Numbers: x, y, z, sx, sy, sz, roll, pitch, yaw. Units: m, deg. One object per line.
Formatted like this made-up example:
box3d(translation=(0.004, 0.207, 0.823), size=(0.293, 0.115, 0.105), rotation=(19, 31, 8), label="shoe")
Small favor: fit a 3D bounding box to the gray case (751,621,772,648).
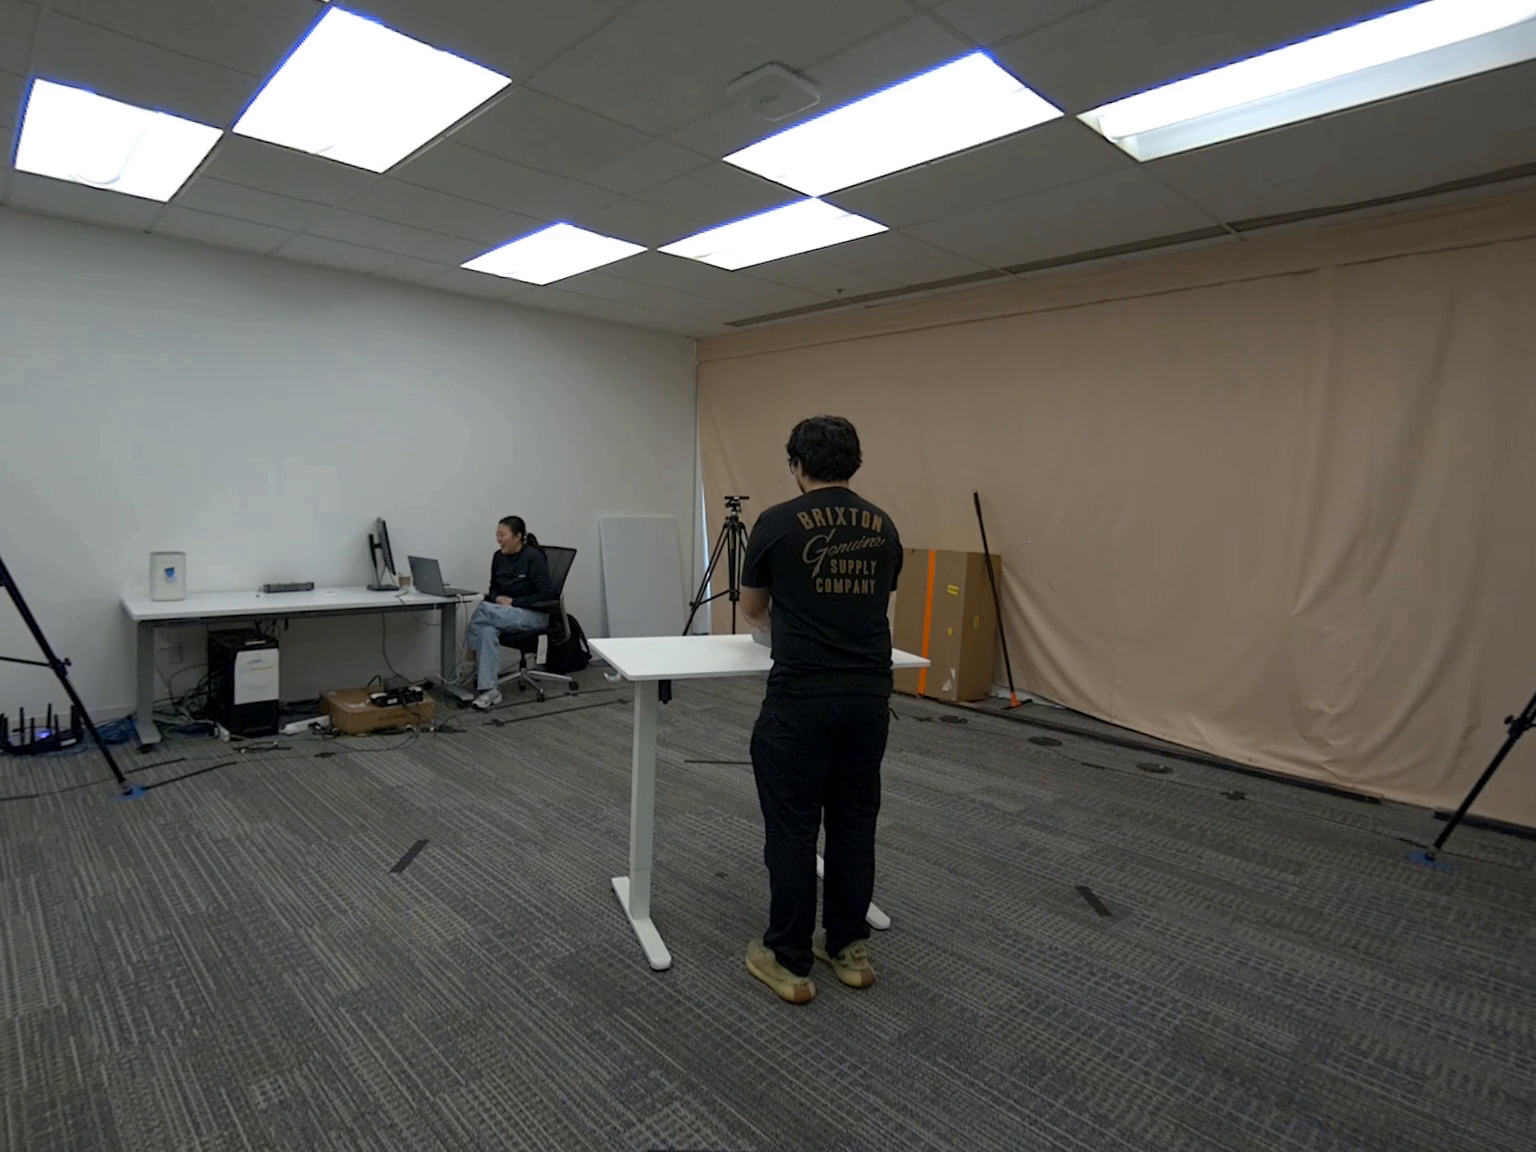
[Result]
box3d(translation=(0.016, 0.117, 2.883), size=(0.103, 0.259, 0.262), rotation=(-14, 9, -21), label="gray case")
